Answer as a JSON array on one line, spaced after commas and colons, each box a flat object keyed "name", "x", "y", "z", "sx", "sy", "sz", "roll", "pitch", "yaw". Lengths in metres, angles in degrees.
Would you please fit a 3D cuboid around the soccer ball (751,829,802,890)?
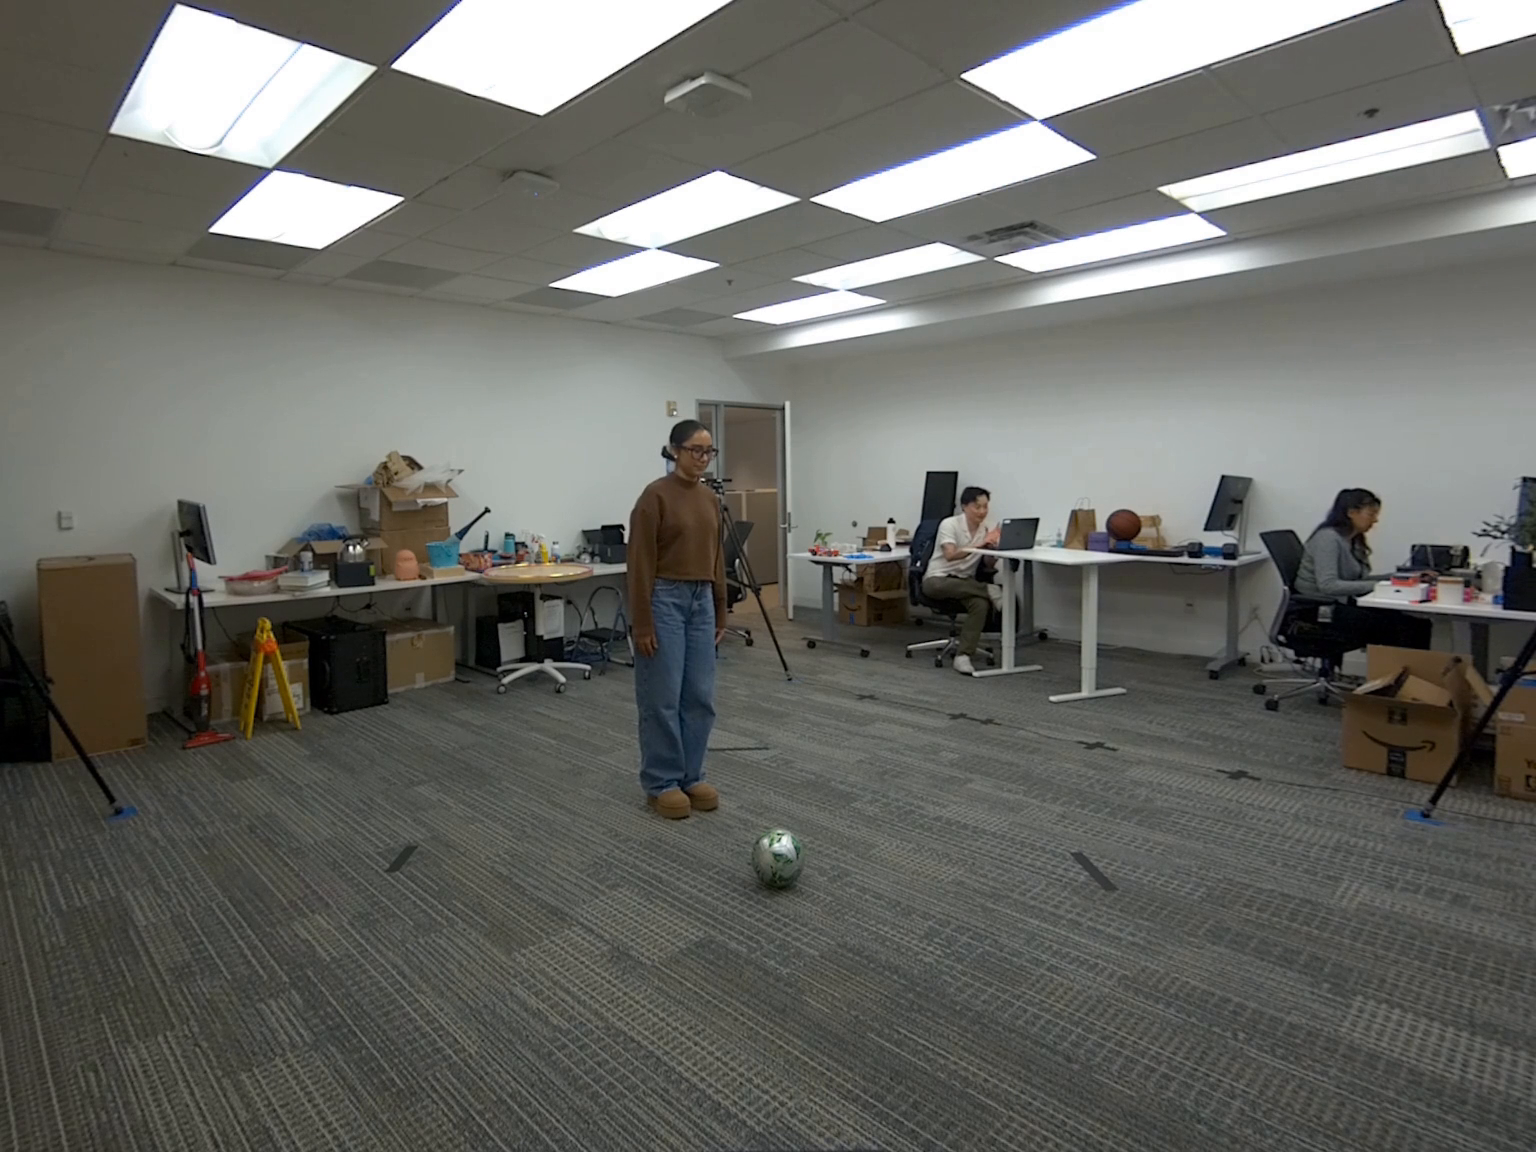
[{"name": "soccer ball", "x": 0.039, "y": 0.965, "z": 2.936, "sx": 0.187, "sy": 0.187, "sz": 0.188, "roll": -1, "pitch": 5, "yaw": -2}]
